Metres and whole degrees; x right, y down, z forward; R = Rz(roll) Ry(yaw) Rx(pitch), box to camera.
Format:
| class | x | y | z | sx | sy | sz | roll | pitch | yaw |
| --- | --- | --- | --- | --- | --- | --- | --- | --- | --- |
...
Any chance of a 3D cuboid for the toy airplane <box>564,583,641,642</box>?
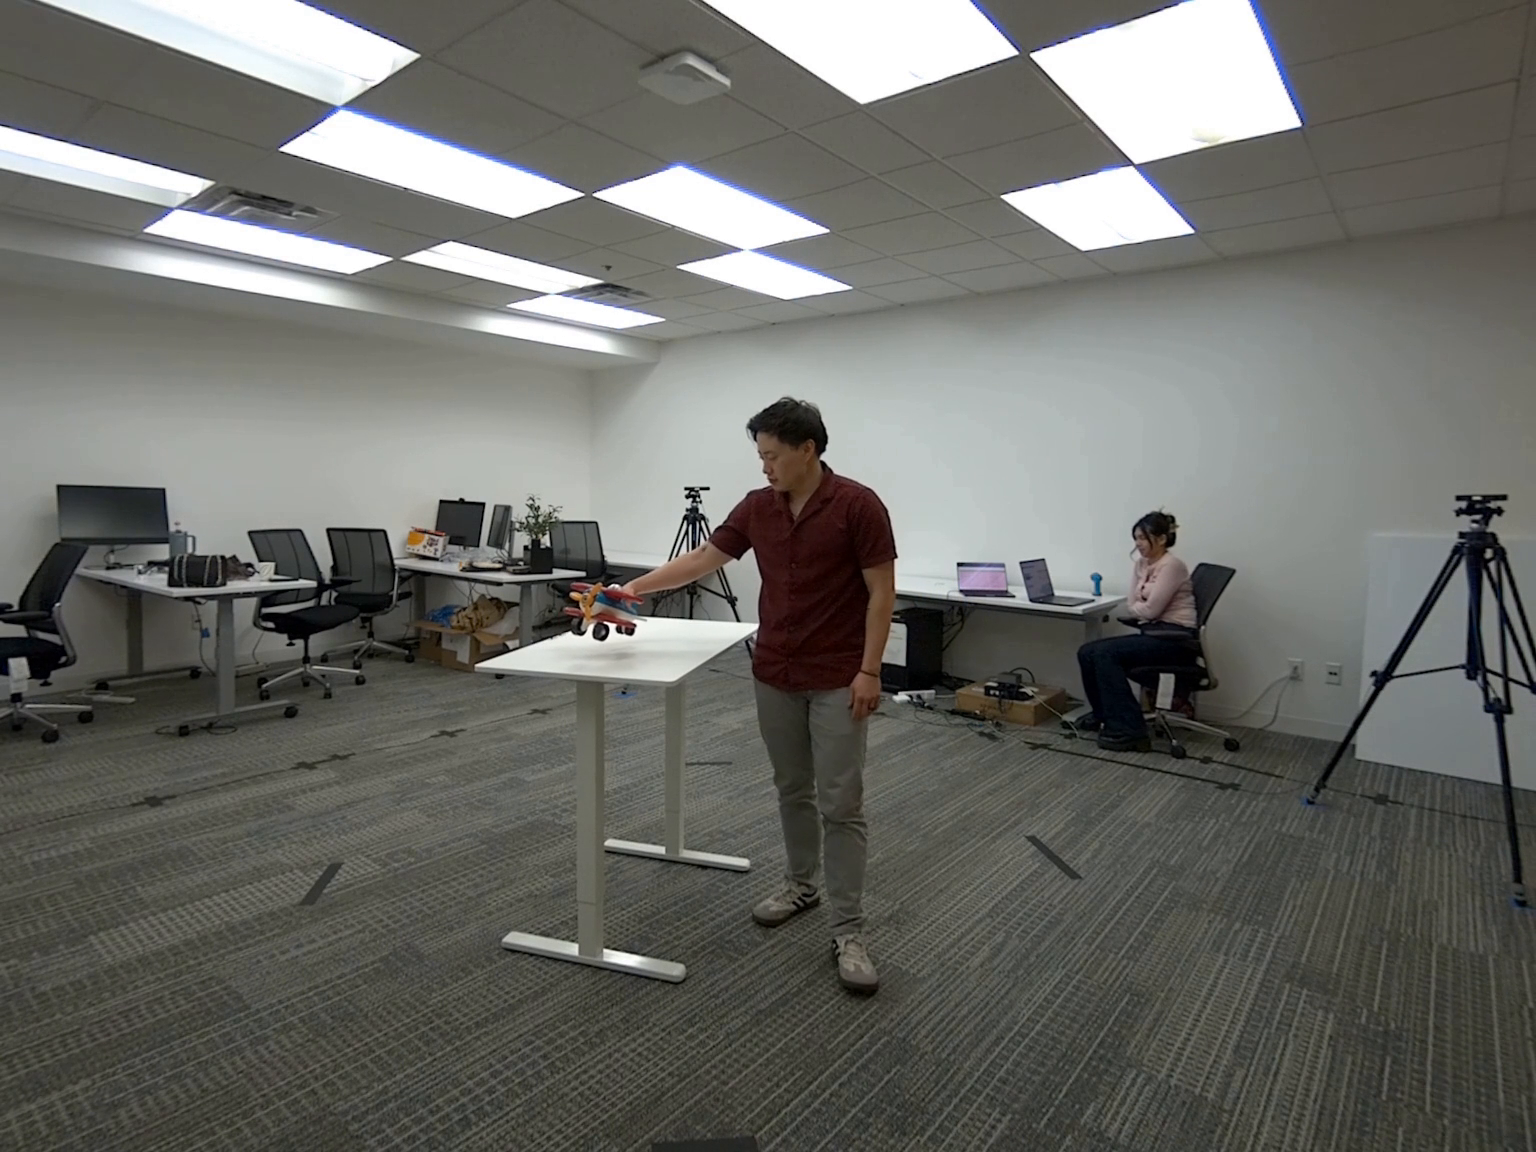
| class | x | y | z | sx | sy | sz | roll | pitch | yaw |
| --- | --- | --- | --- | --- | --- | --- | --- | --- | --- |
| toy airplane | -0.515 | 0.105 | 2.616 | 0.252 | 0.156 | 0.259 | 6 | 3 | 1 |
